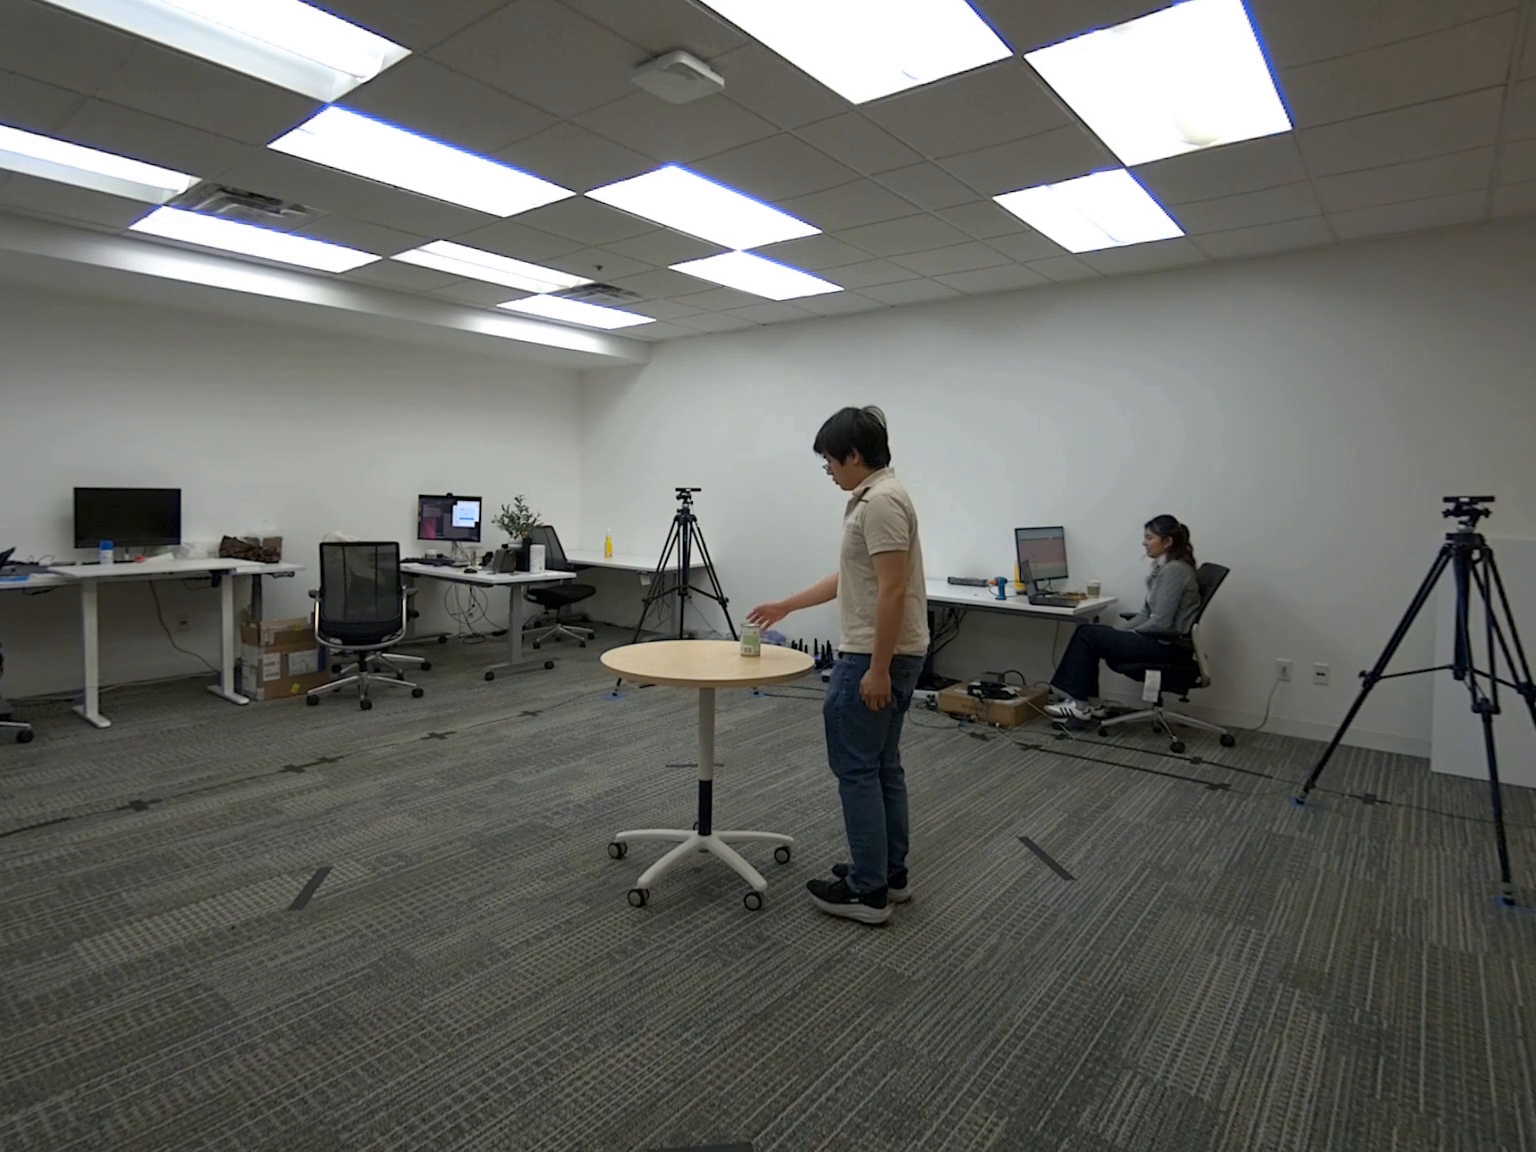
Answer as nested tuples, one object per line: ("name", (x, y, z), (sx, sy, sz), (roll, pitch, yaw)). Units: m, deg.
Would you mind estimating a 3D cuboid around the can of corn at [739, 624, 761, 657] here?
("can of corn", (-0.080, 0.232, 3.119), (0.074, 0.111, 0.074), (4, 0, -2))
